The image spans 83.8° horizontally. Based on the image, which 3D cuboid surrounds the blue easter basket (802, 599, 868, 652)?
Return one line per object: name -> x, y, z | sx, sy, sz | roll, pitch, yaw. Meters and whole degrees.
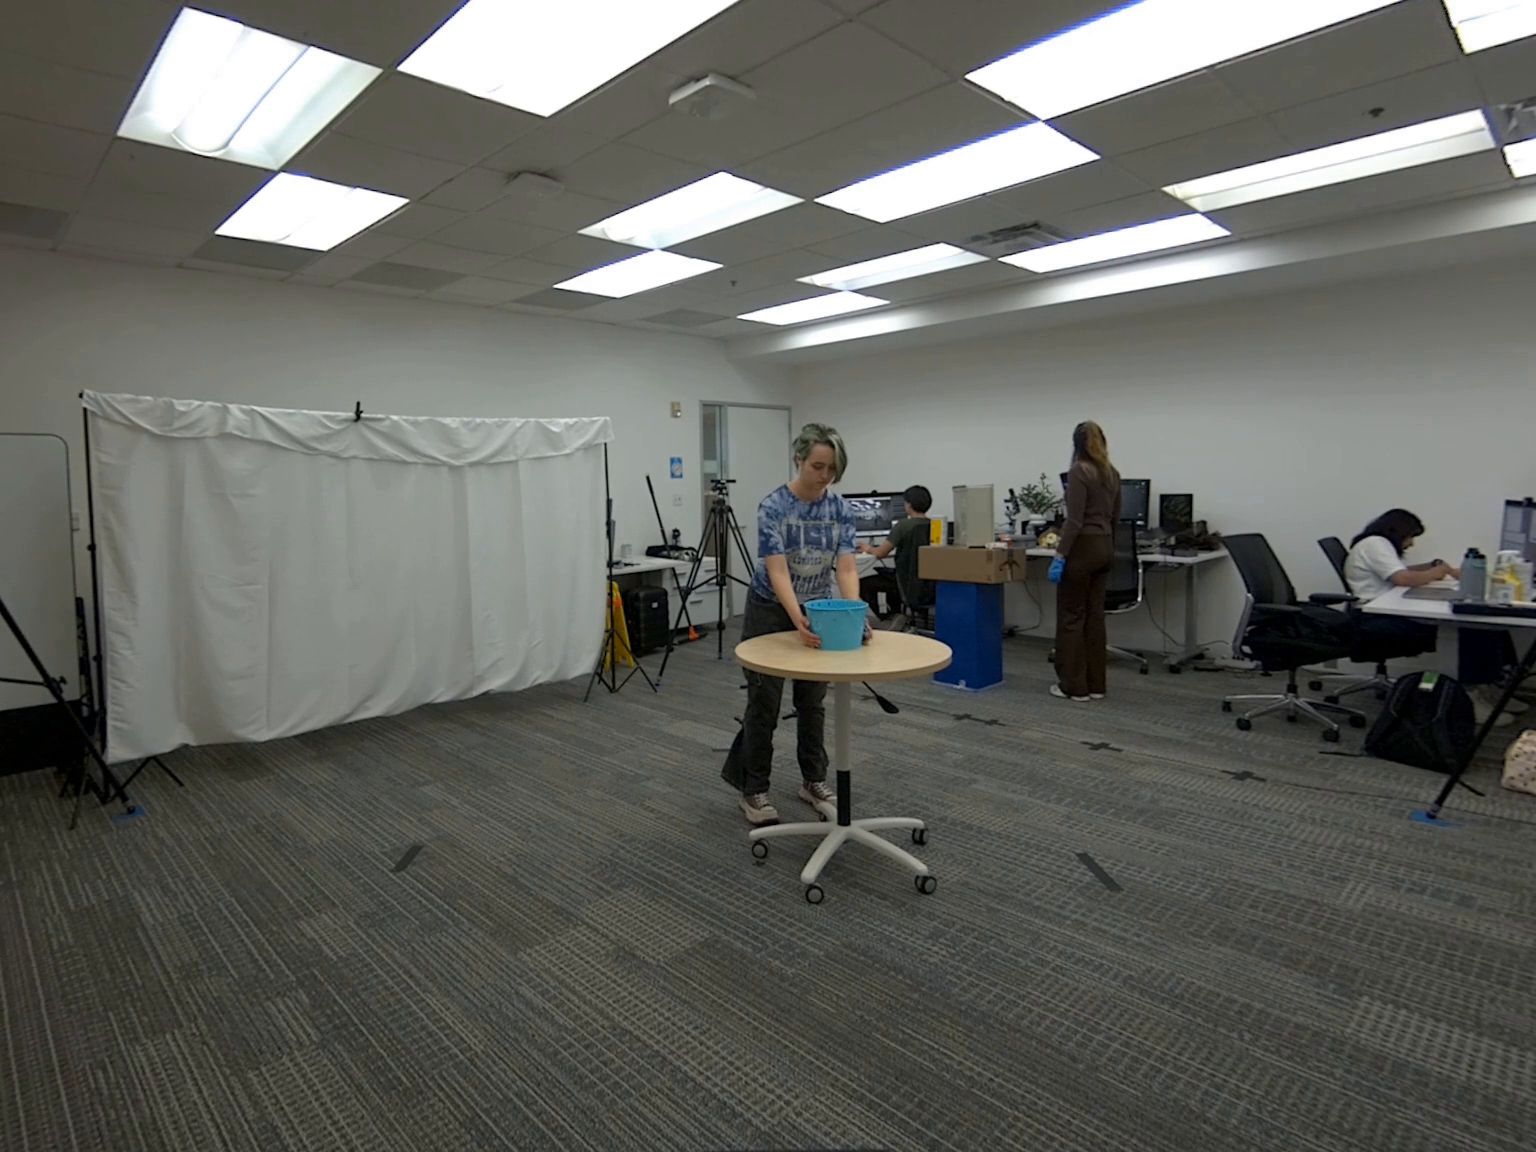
blue easter basket -> 0.259, 0.182, 3.117 | 0.243, 0.155, 0.245 | -2, 6, -2
